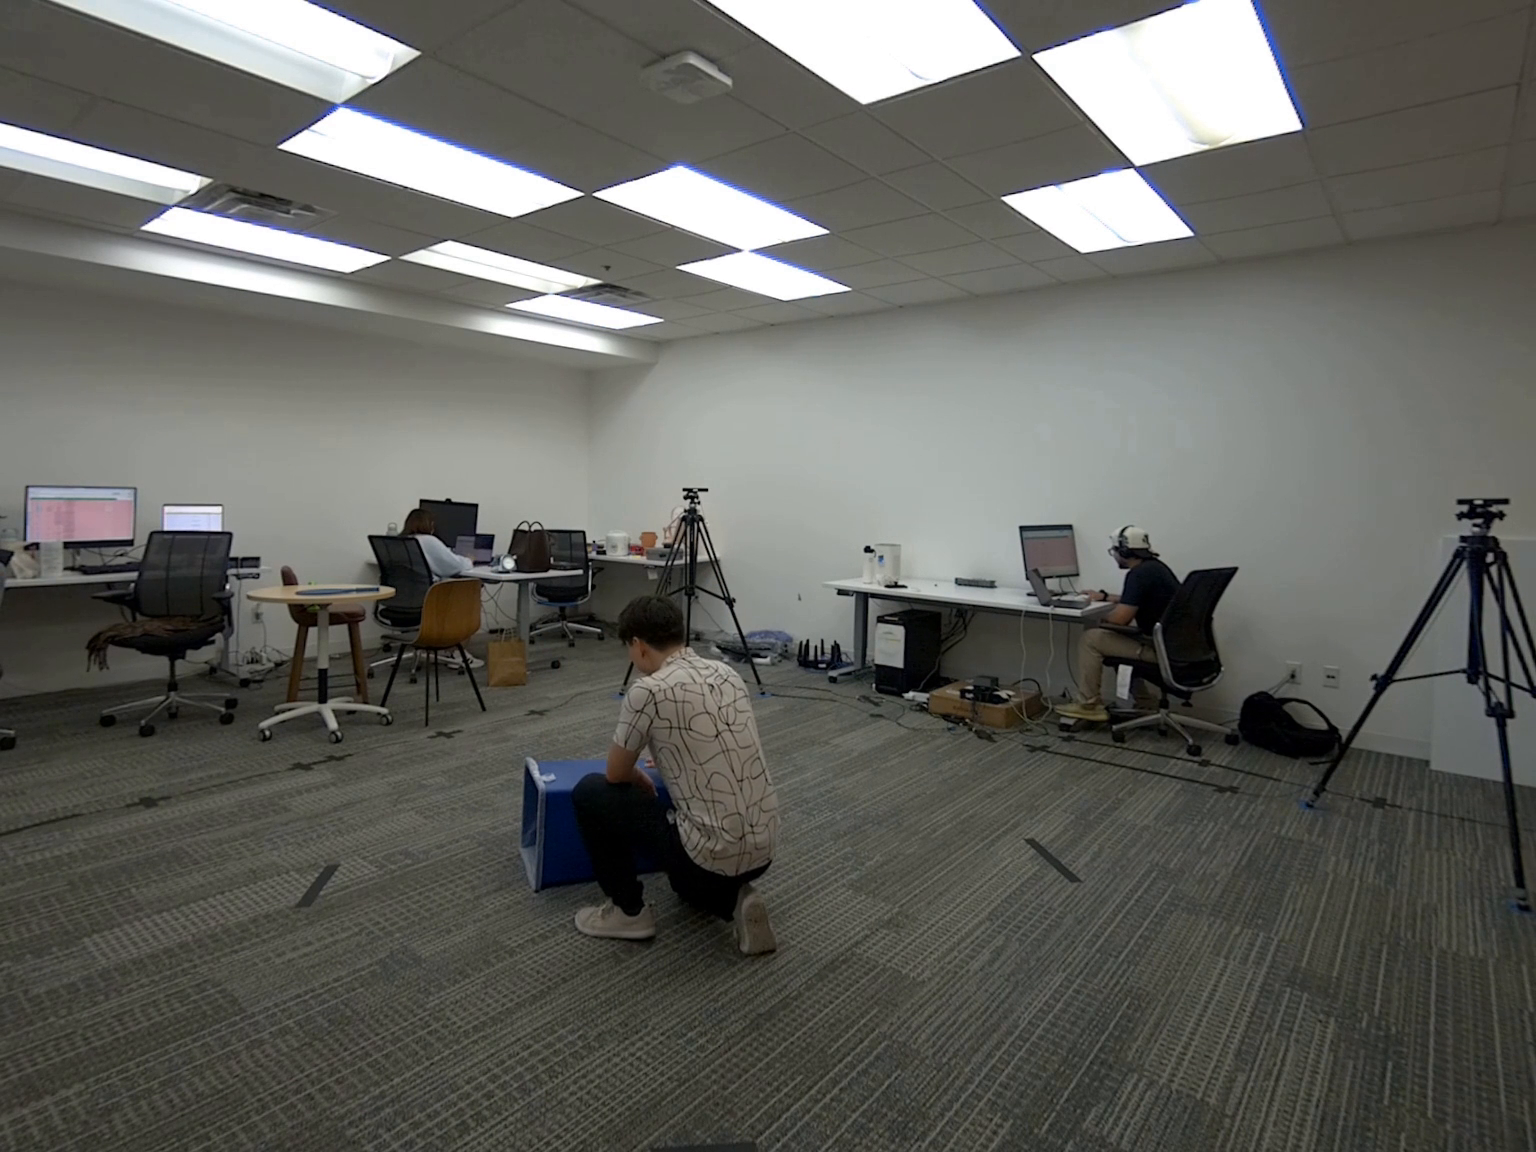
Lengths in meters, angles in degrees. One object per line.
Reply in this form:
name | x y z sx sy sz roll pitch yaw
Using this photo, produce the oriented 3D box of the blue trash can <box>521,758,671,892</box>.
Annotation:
blue trash can | -0.545 0.890 3.175 0.698 0.373 0.388 3 4 -22
